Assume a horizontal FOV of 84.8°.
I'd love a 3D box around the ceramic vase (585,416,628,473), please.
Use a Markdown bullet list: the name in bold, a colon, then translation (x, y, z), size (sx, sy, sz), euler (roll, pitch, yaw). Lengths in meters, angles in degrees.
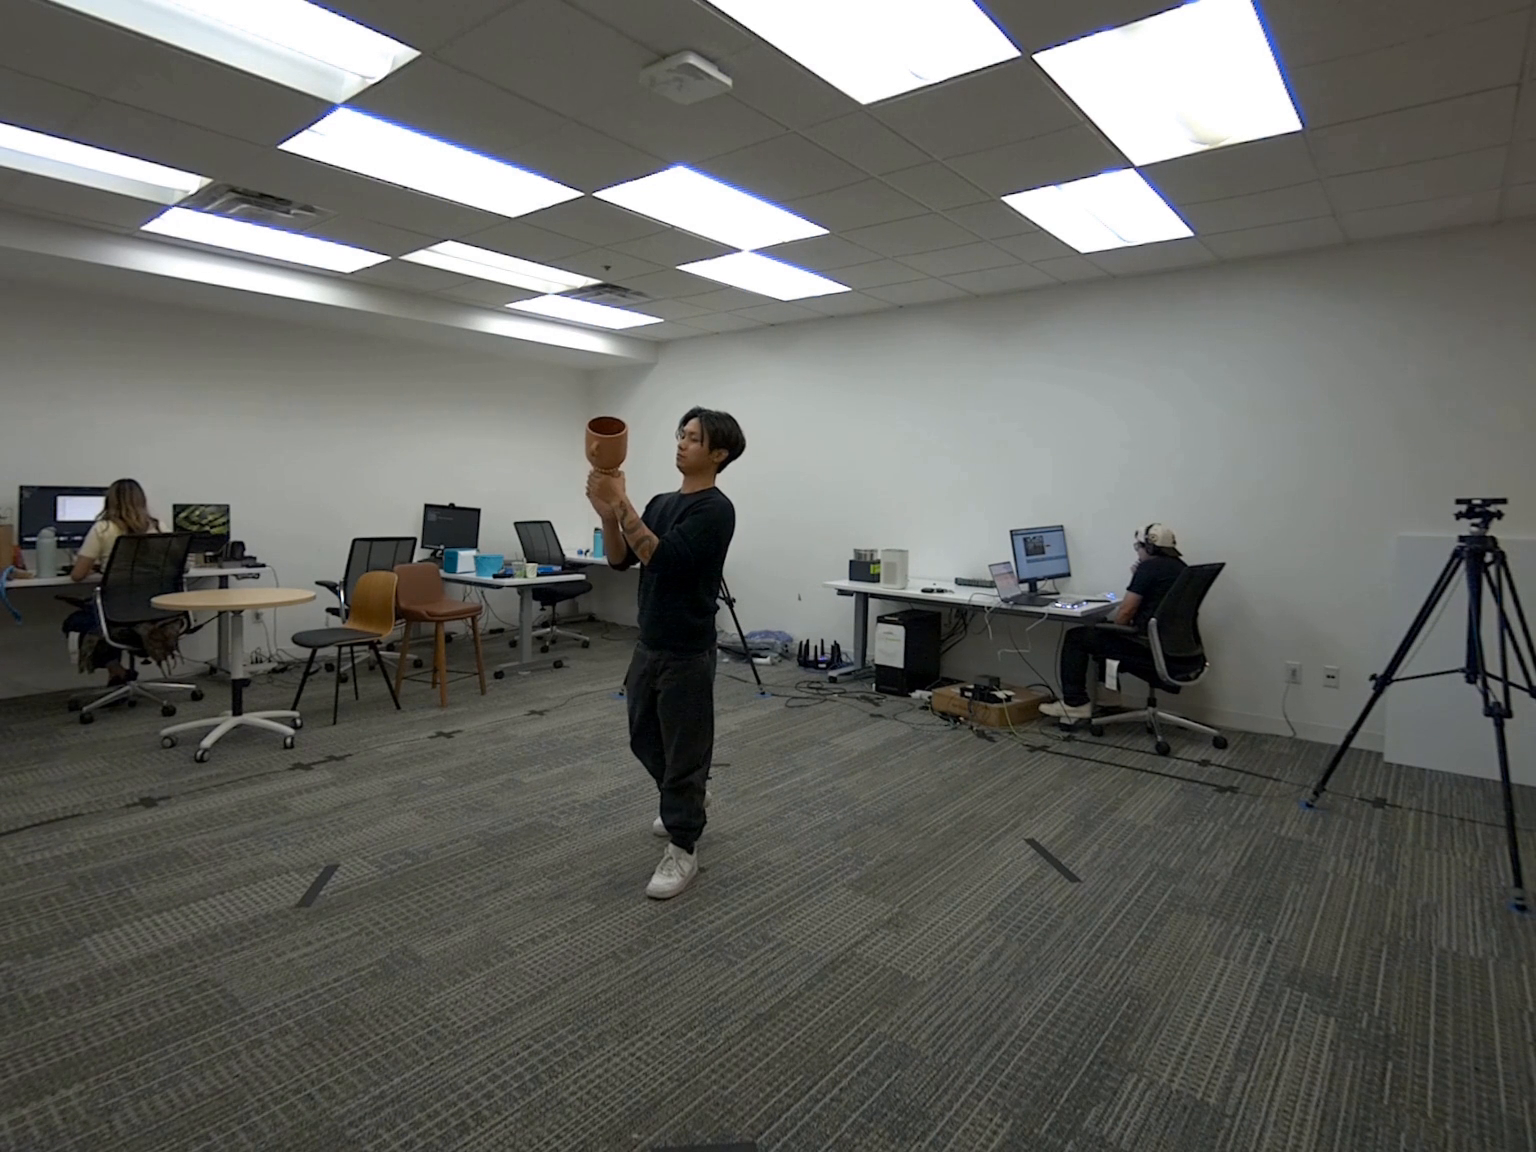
- **ceramic vase**: translation (-0.525, -0.388, 2.721), size (0.156, 0.215, 0.140), euler (-16, 44, -29)
